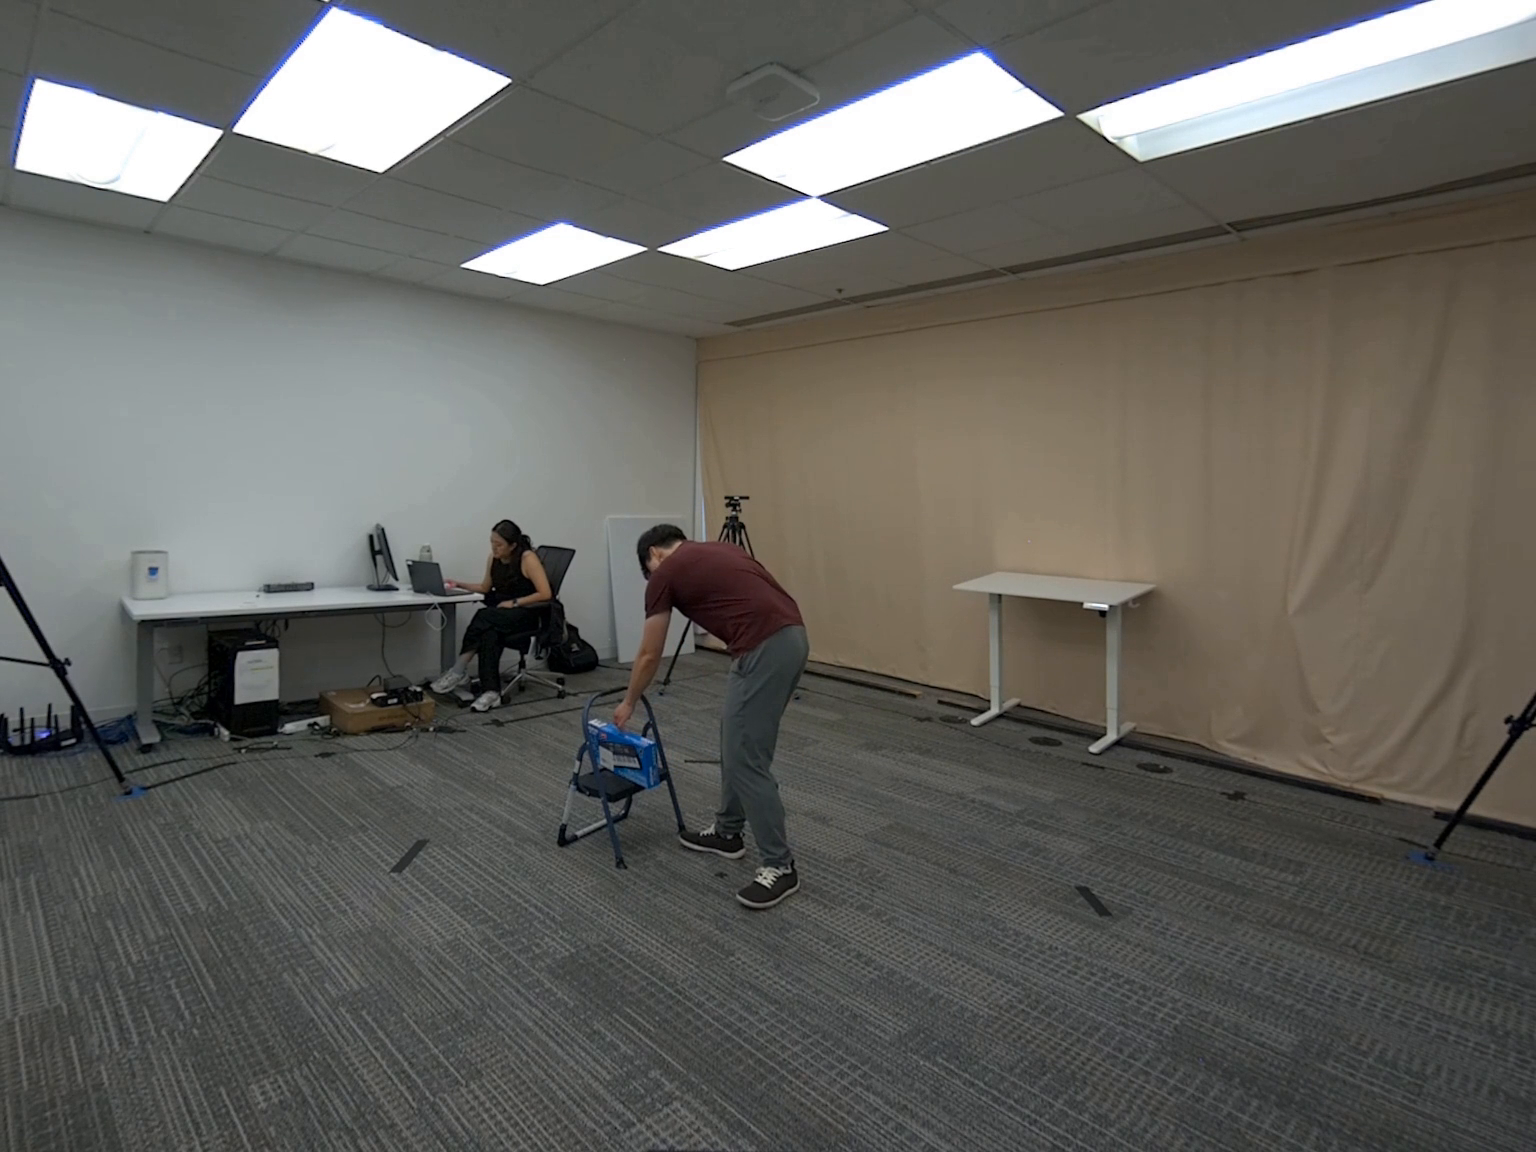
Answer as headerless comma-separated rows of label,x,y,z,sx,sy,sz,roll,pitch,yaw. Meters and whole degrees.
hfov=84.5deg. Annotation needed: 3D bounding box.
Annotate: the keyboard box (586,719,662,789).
keyboard box,-0.597,0.713,3.407,0.058,0.175,0.448,-11,12,-41
